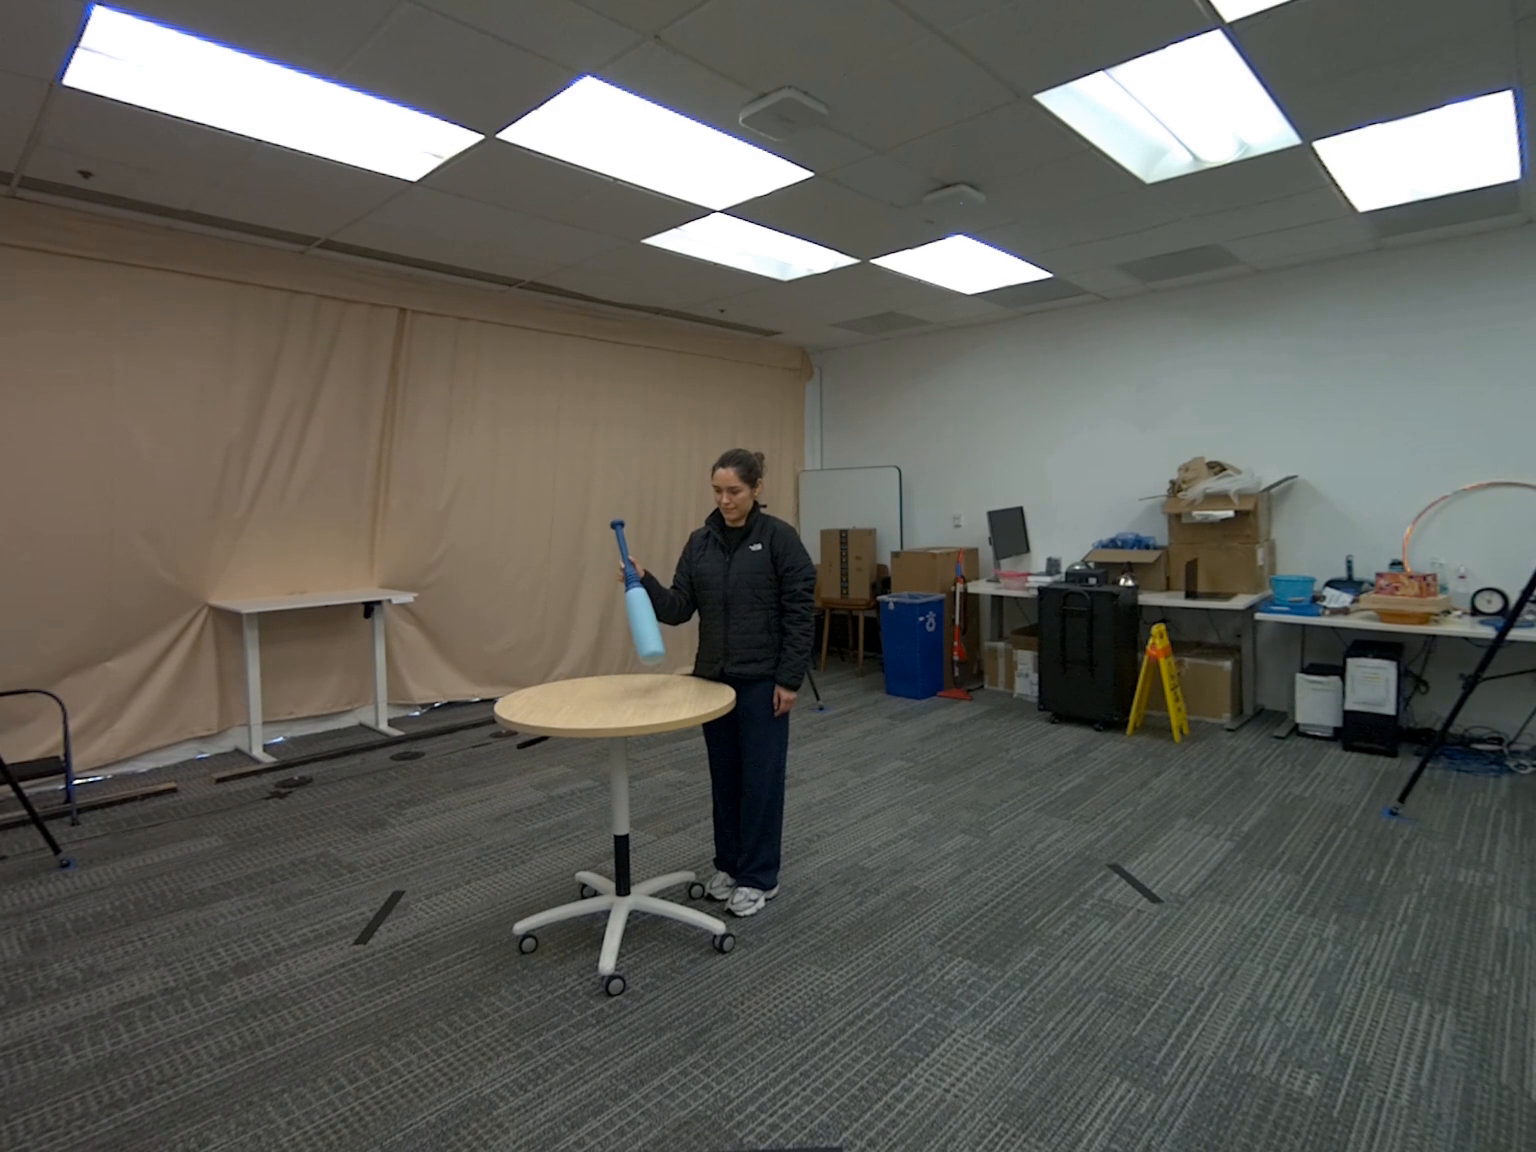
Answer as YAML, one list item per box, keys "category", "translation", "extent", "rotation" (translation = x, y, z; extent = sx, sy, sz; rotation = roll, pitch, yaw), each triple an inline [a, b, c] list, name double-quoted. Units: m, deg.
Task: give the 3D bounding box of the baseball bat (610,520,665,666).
- category: "baseball bat"
  translation: [-0.432, 0.040, 2.741]
  extent: [0.088, 0.556, 0.087]
  rotation: [-12, -32, -9]
